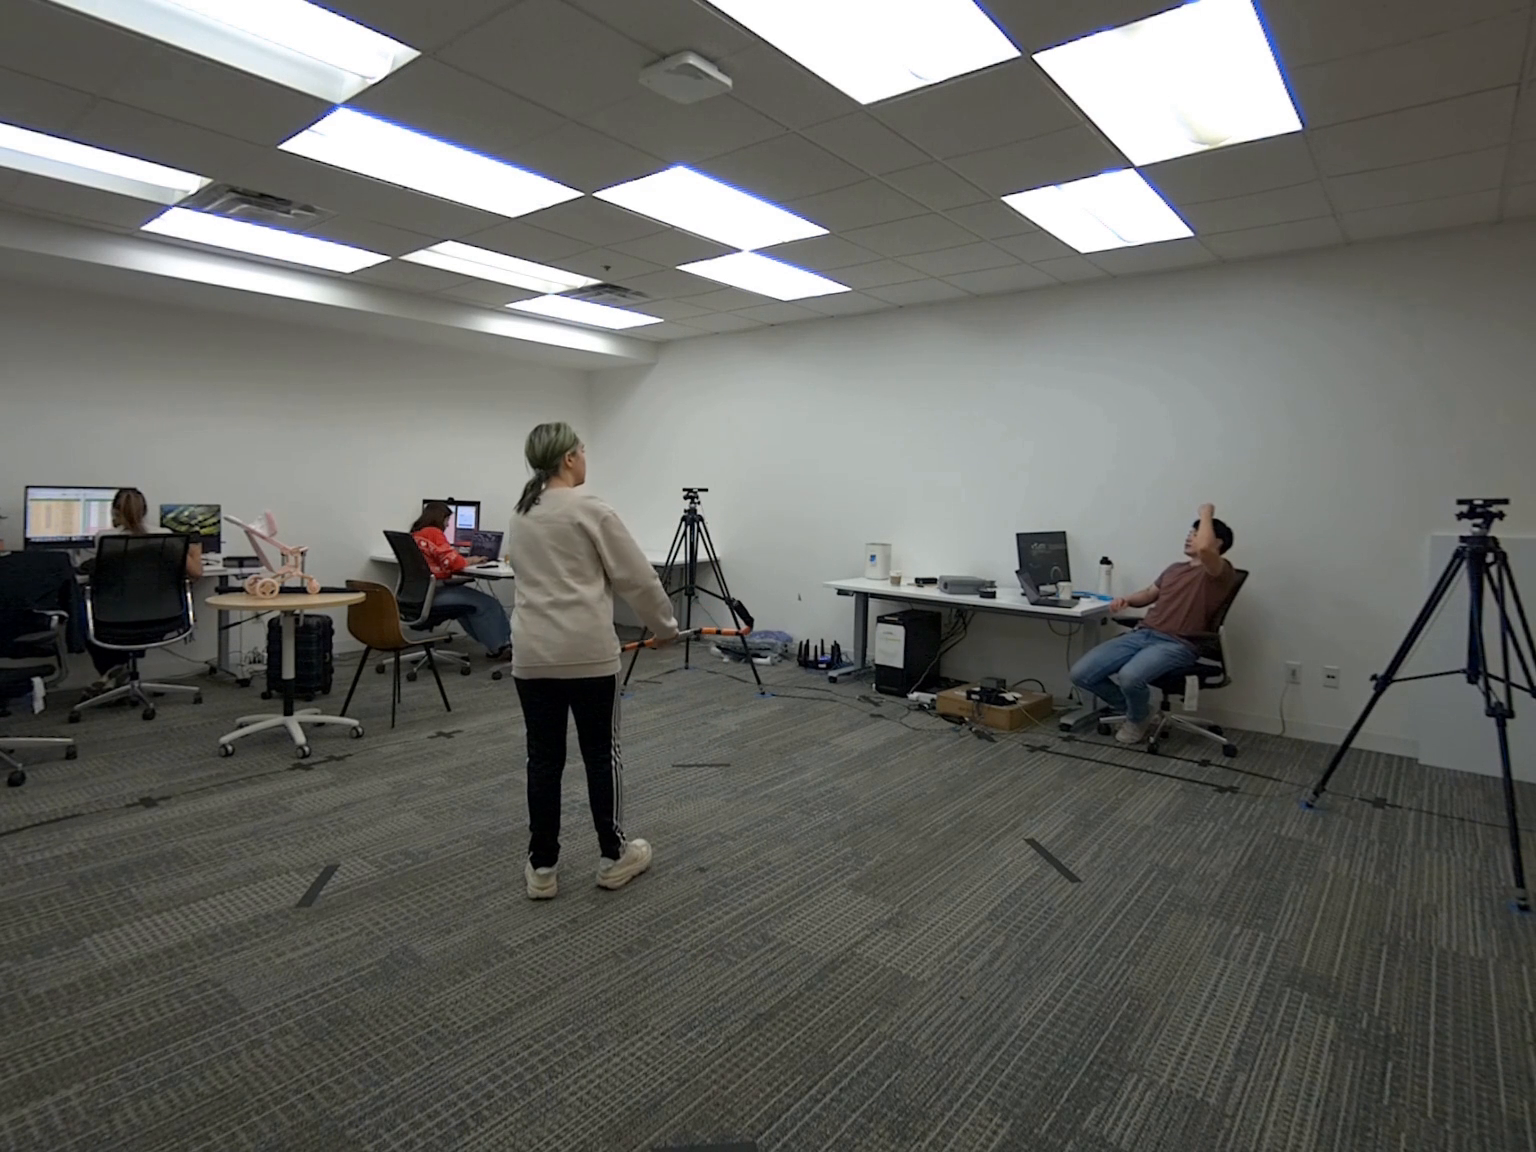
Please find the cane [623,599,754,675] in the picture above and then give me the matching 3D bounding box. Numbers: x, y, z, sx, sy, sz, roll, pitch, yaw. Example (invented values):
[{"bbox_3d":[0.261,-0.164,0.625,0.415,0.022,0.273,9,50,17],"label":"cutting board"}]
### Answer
[{"bbox_3d":[-0.463,0.265,3.167,0.923,0.198,0.155,-14,39,23],"label":"cane"}]
